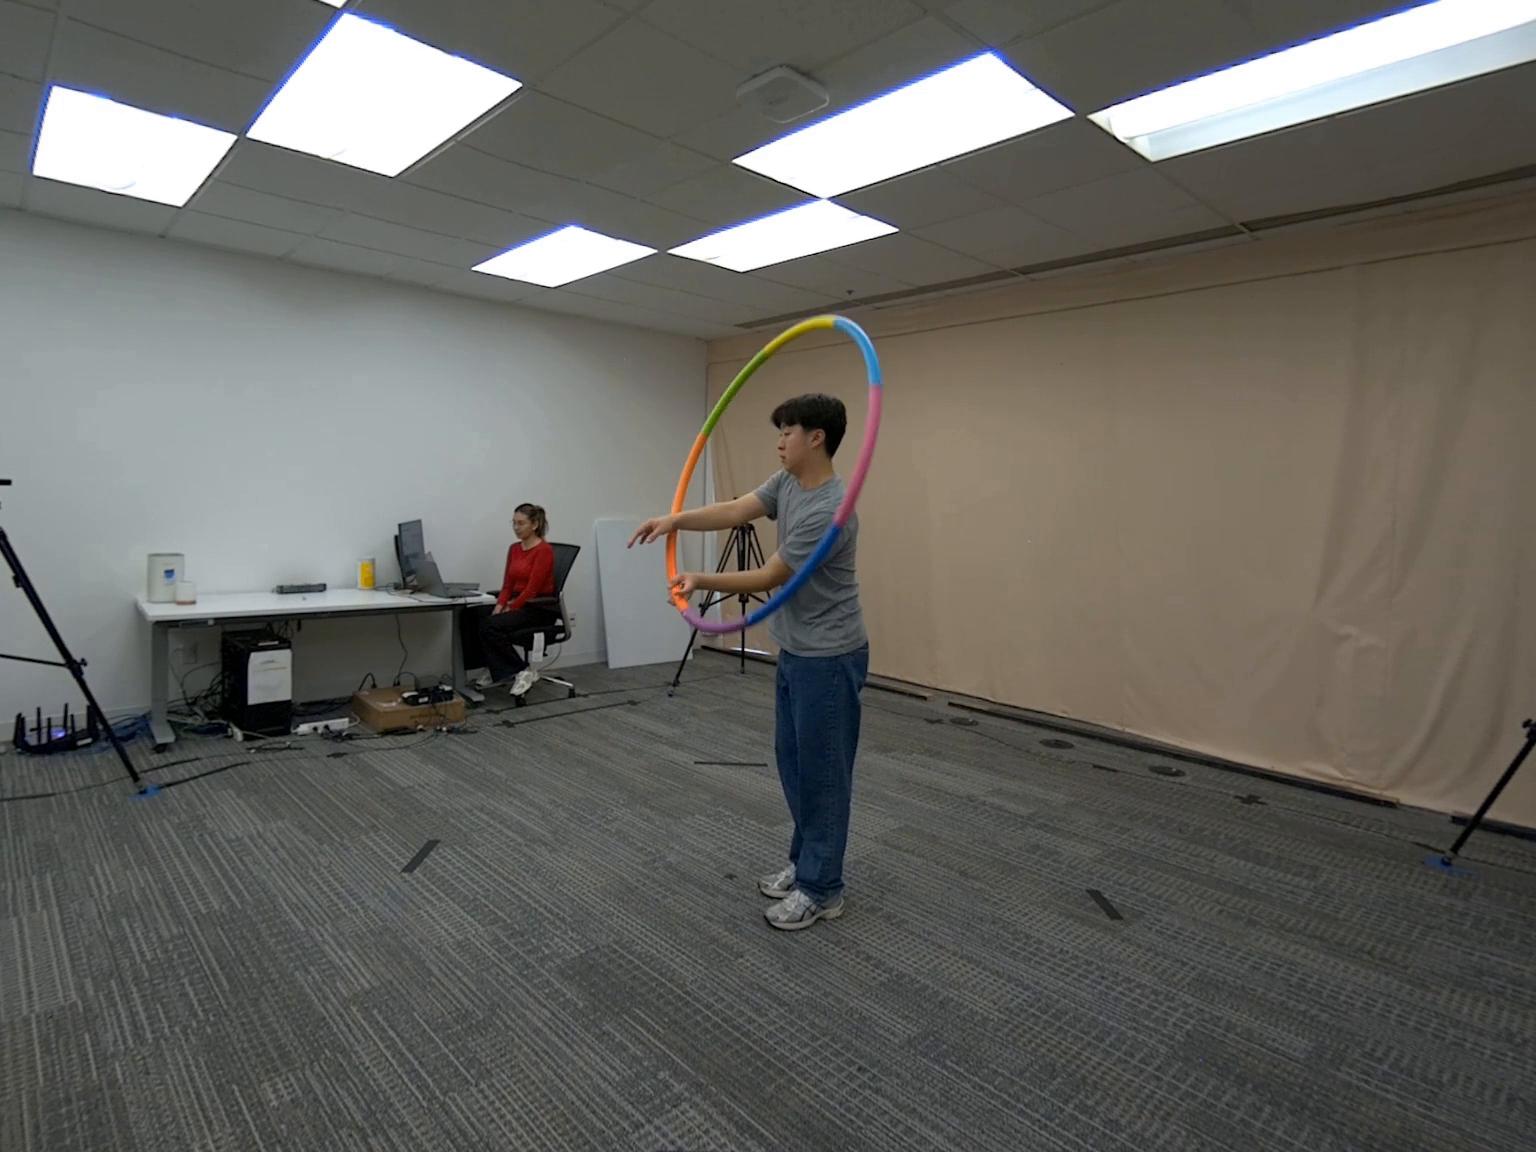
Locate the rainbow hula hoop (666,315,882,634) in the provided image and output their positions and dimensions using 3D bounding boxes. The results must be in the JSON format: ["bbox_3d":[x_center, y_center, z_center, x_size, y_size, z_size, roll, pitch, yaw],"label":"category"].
[{"bbox_3d":[-0.038,-0.292,2.459,0.034,0.981,1.001,22,-7,-31],"label":"rainbow hula hoop"}]
